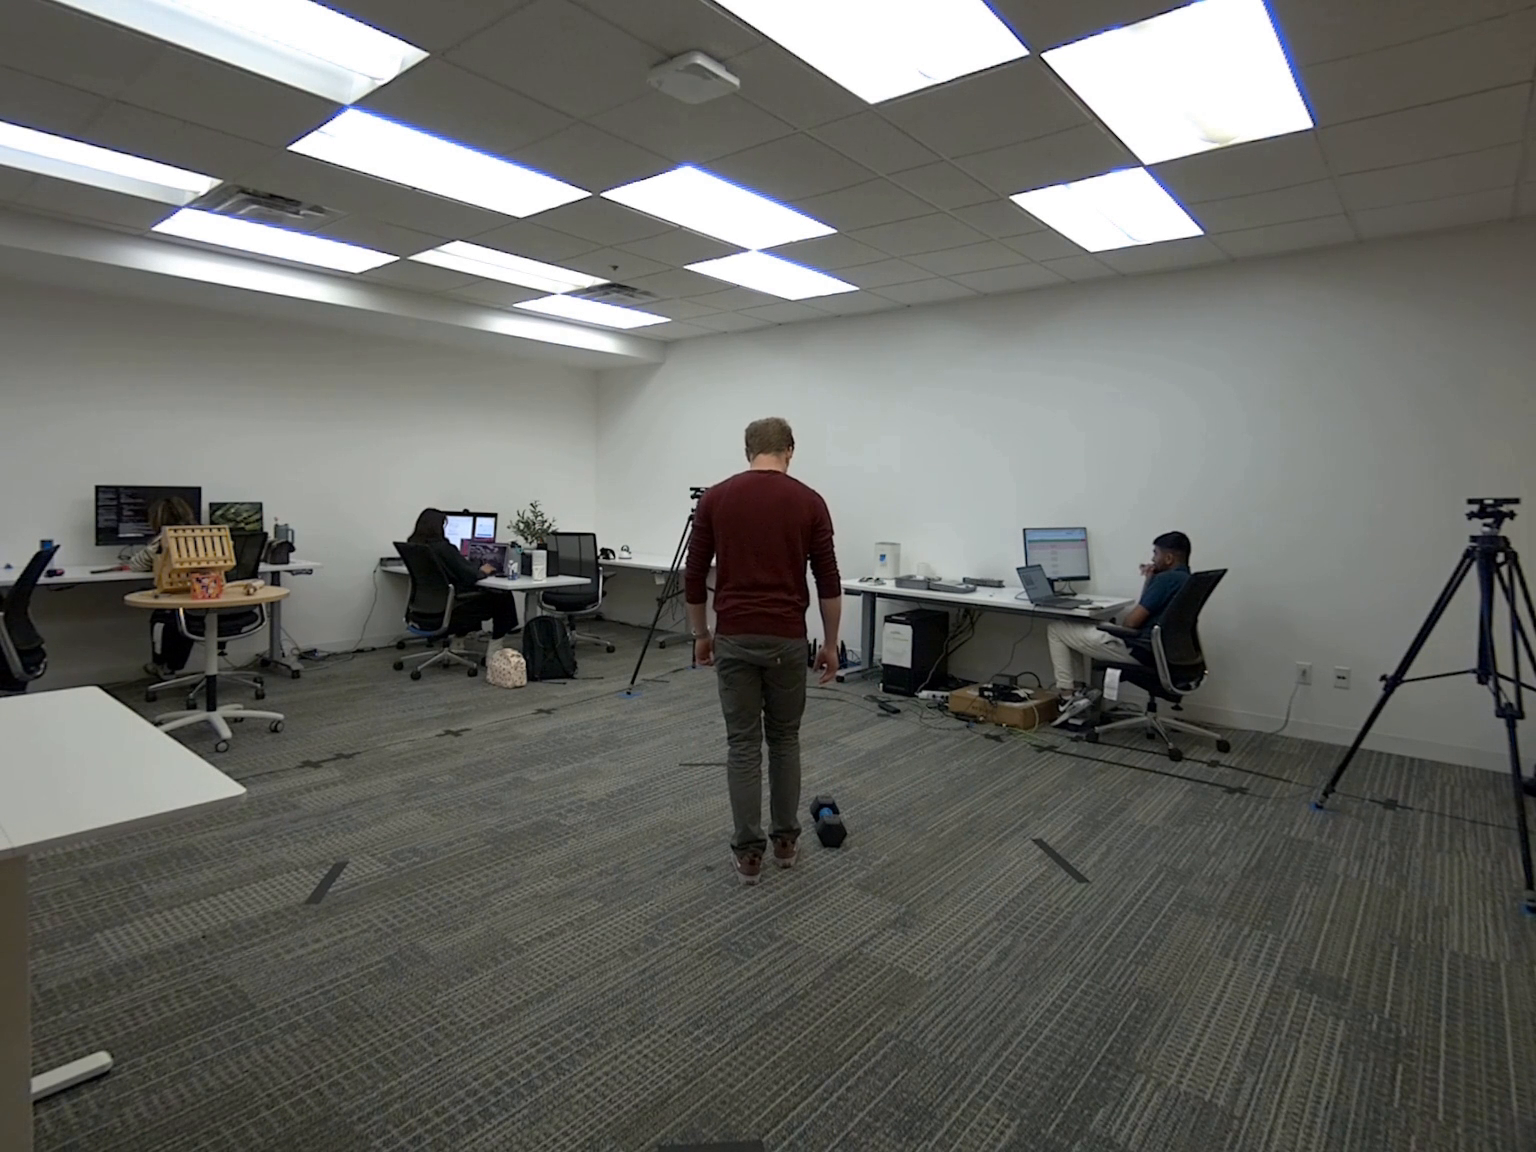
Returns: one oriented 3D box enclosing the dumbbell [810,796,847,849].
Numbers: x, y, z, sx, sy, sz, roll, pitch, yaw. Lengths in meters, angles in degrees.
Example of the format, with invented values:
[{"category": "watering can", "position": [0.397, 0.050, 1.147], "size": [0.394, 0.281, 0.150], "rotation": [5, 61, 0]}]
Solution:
[{"category": "dumbbell", "position": [0.237, 0.989, 3.457], "size": [0.109, 0.122, 0.295], "rotation": [-29, 6, 0]}]
